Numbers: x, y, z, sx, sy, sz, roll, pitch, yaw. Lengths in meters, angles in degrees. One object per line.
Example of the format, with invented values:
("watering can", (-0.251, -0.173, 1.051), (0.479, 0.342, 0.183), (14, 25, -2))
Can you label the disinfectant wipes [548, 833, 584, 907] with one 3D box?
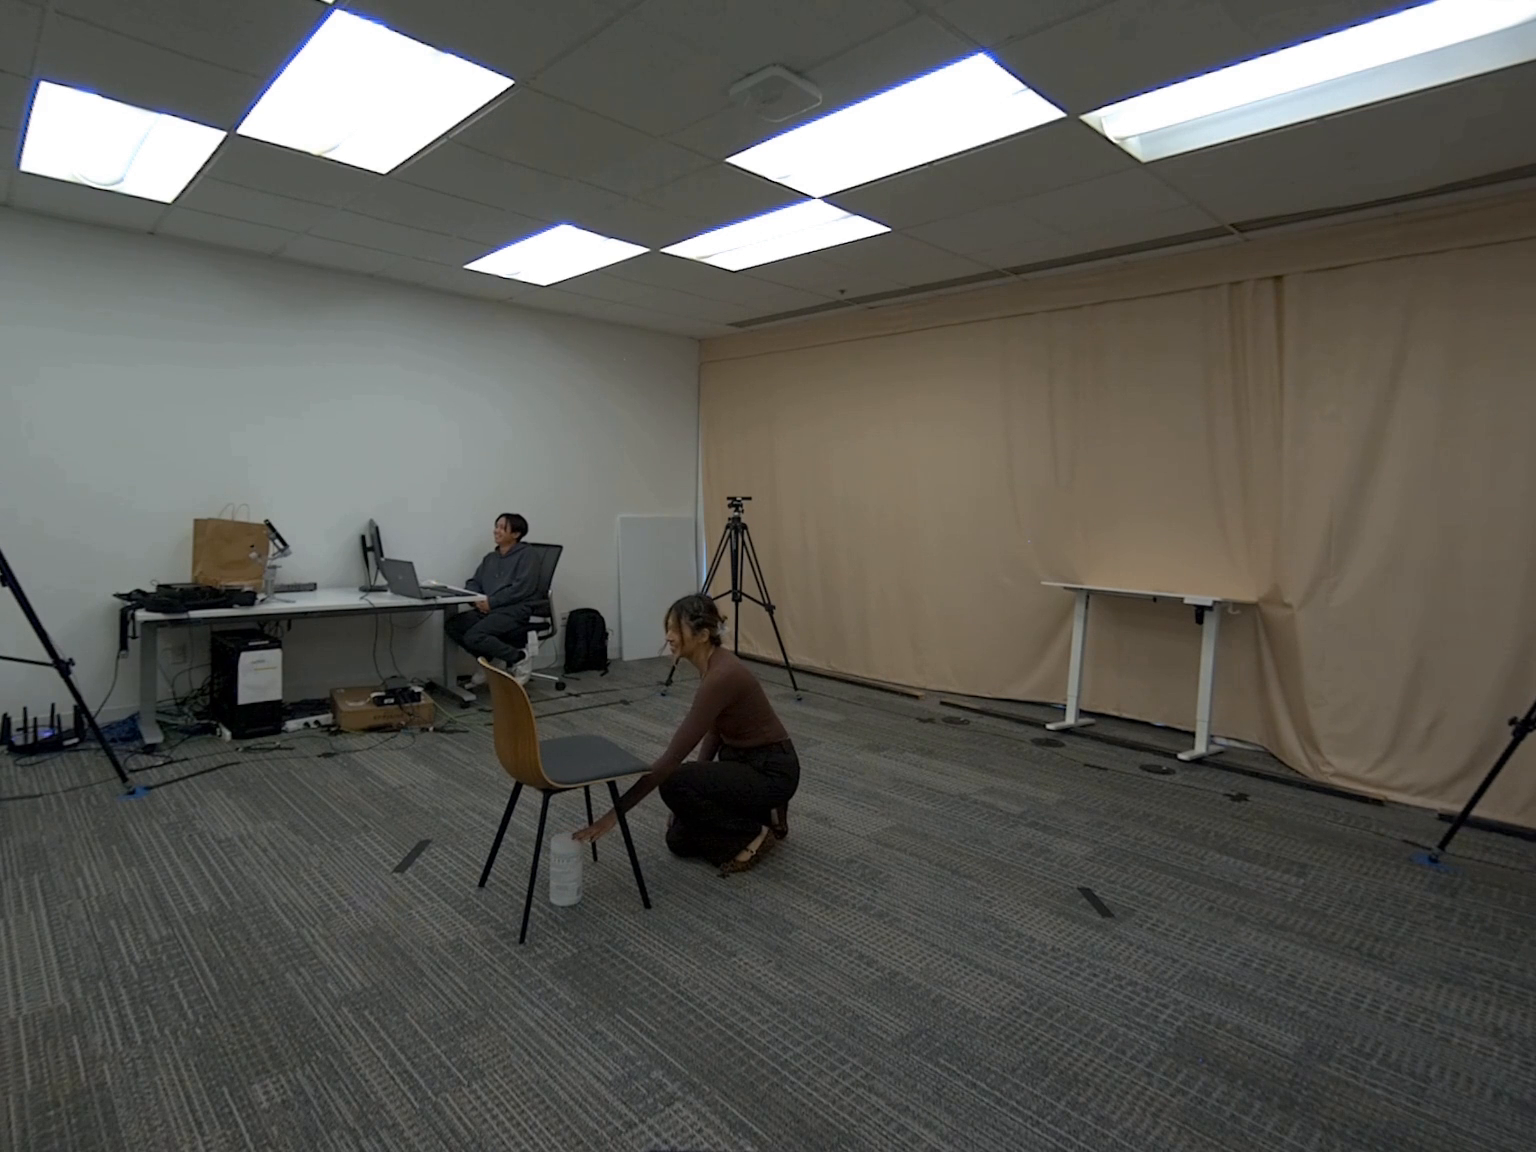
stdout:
("disinfectant wipes", (-0.703, 1.015, 2.893), (0.118, 0.217, 0.118), (3, 3, -2))
